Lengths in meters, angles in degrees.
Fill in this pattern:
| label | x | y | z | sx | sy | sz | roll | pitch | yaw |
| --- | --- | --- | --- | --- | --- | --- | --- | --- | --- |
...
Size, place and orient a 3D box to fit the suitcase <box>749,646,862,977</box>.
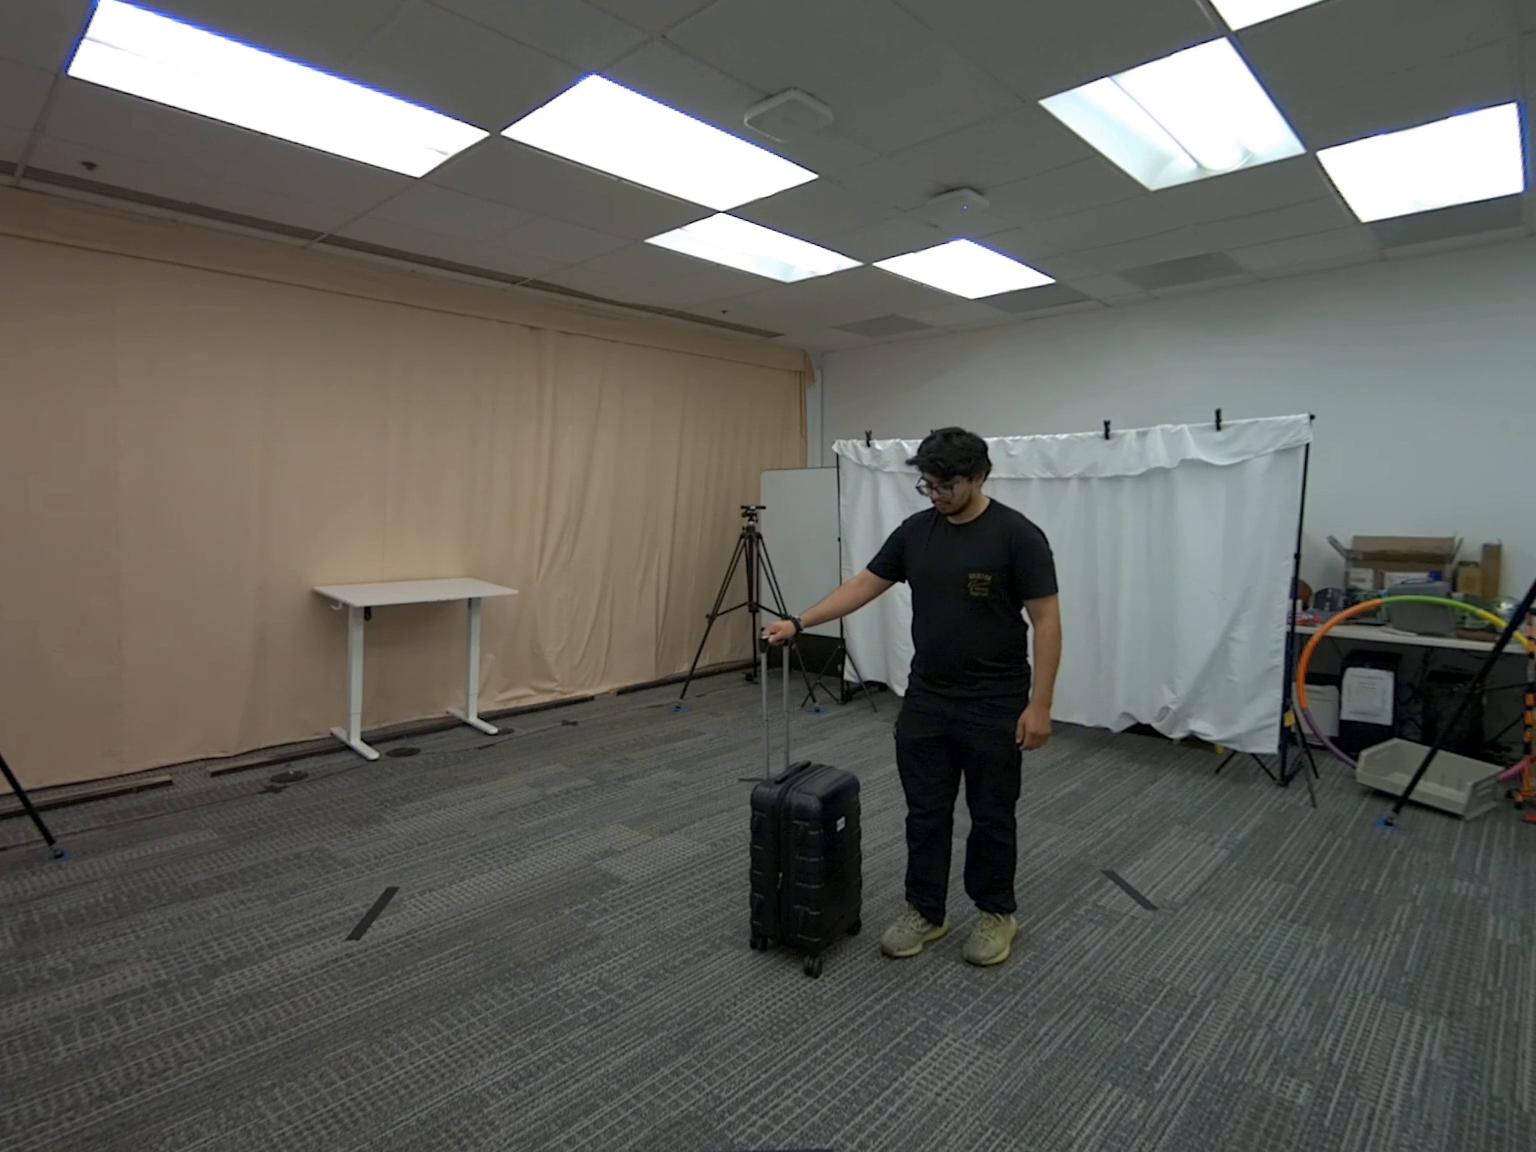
| label | x | y | z | sx | sy | sz | roll | pitch | yaw |
| --- | --- | --- | --- | --- | --- | --- | --- | --- | --- |
| suitcase | 0.130 | 0.698 | 2.665 | 0.265 | 0.976 | 0.373 | 4 | 5 | 32 |
